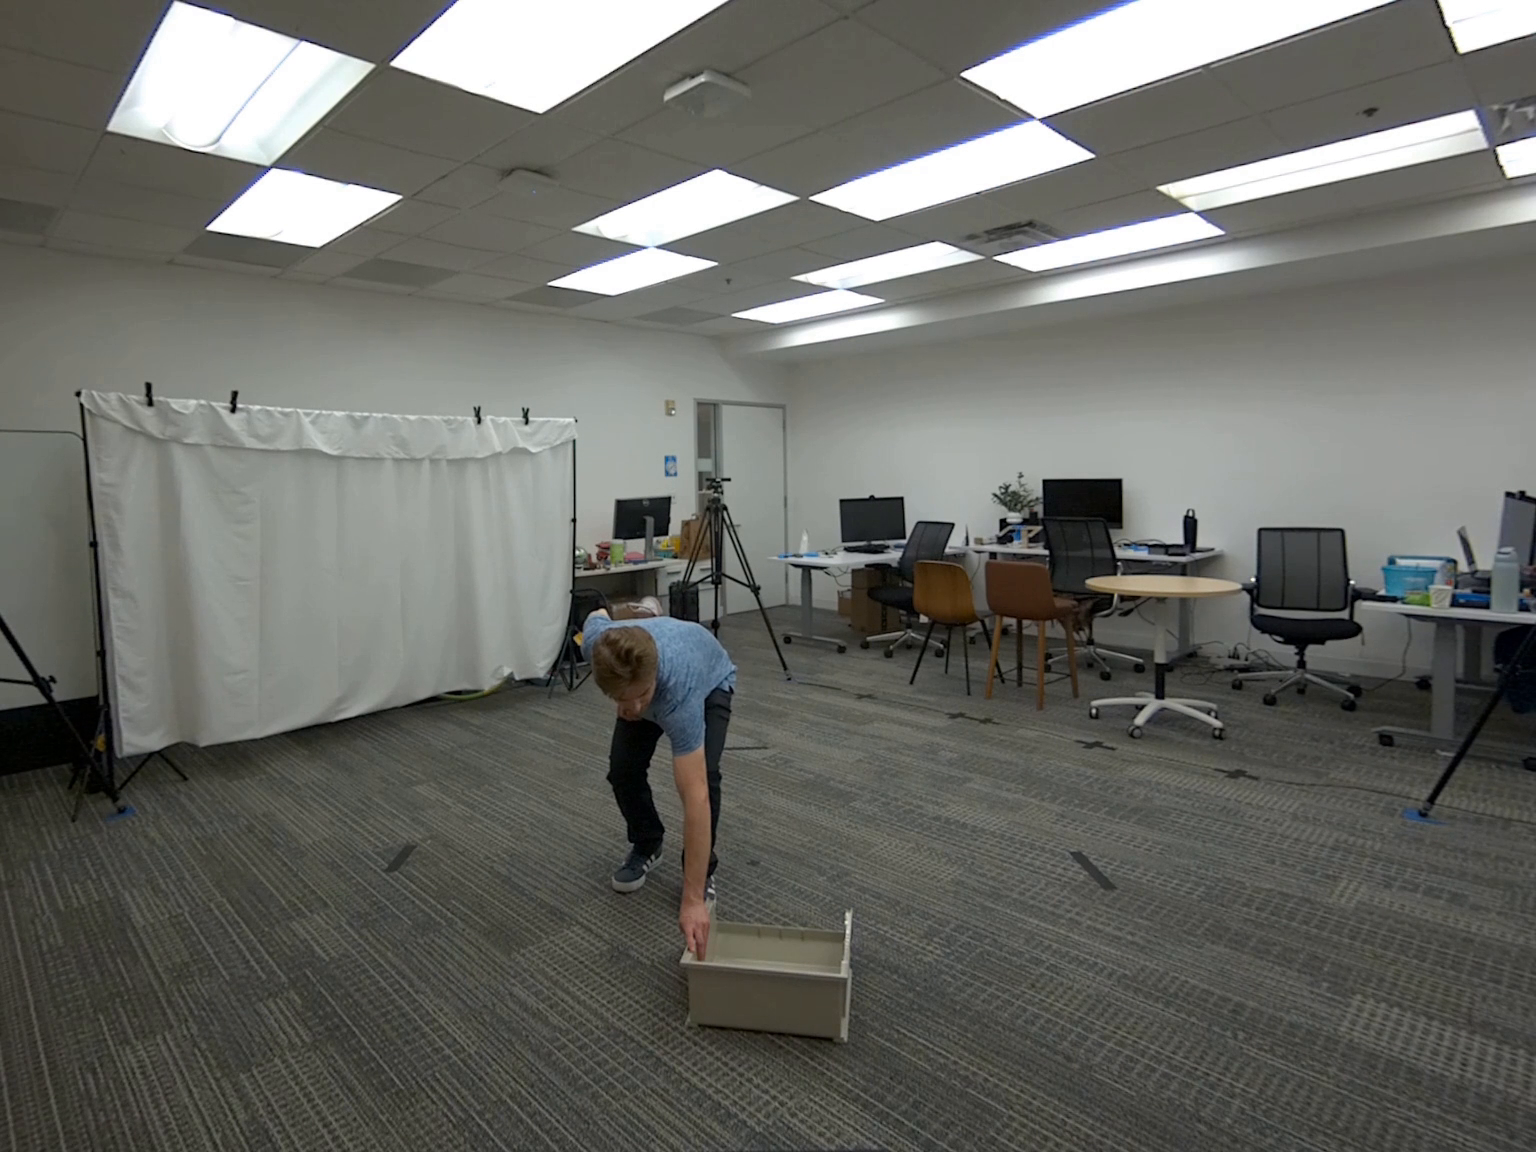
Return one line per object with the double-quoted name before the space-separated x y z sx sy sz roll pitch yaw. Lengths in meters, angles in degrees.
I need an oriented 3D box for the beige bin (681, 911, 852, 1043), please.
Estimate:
"beige bin" 0.015 1.046 2.313 0.426 0.188 0.376 0 7 9
